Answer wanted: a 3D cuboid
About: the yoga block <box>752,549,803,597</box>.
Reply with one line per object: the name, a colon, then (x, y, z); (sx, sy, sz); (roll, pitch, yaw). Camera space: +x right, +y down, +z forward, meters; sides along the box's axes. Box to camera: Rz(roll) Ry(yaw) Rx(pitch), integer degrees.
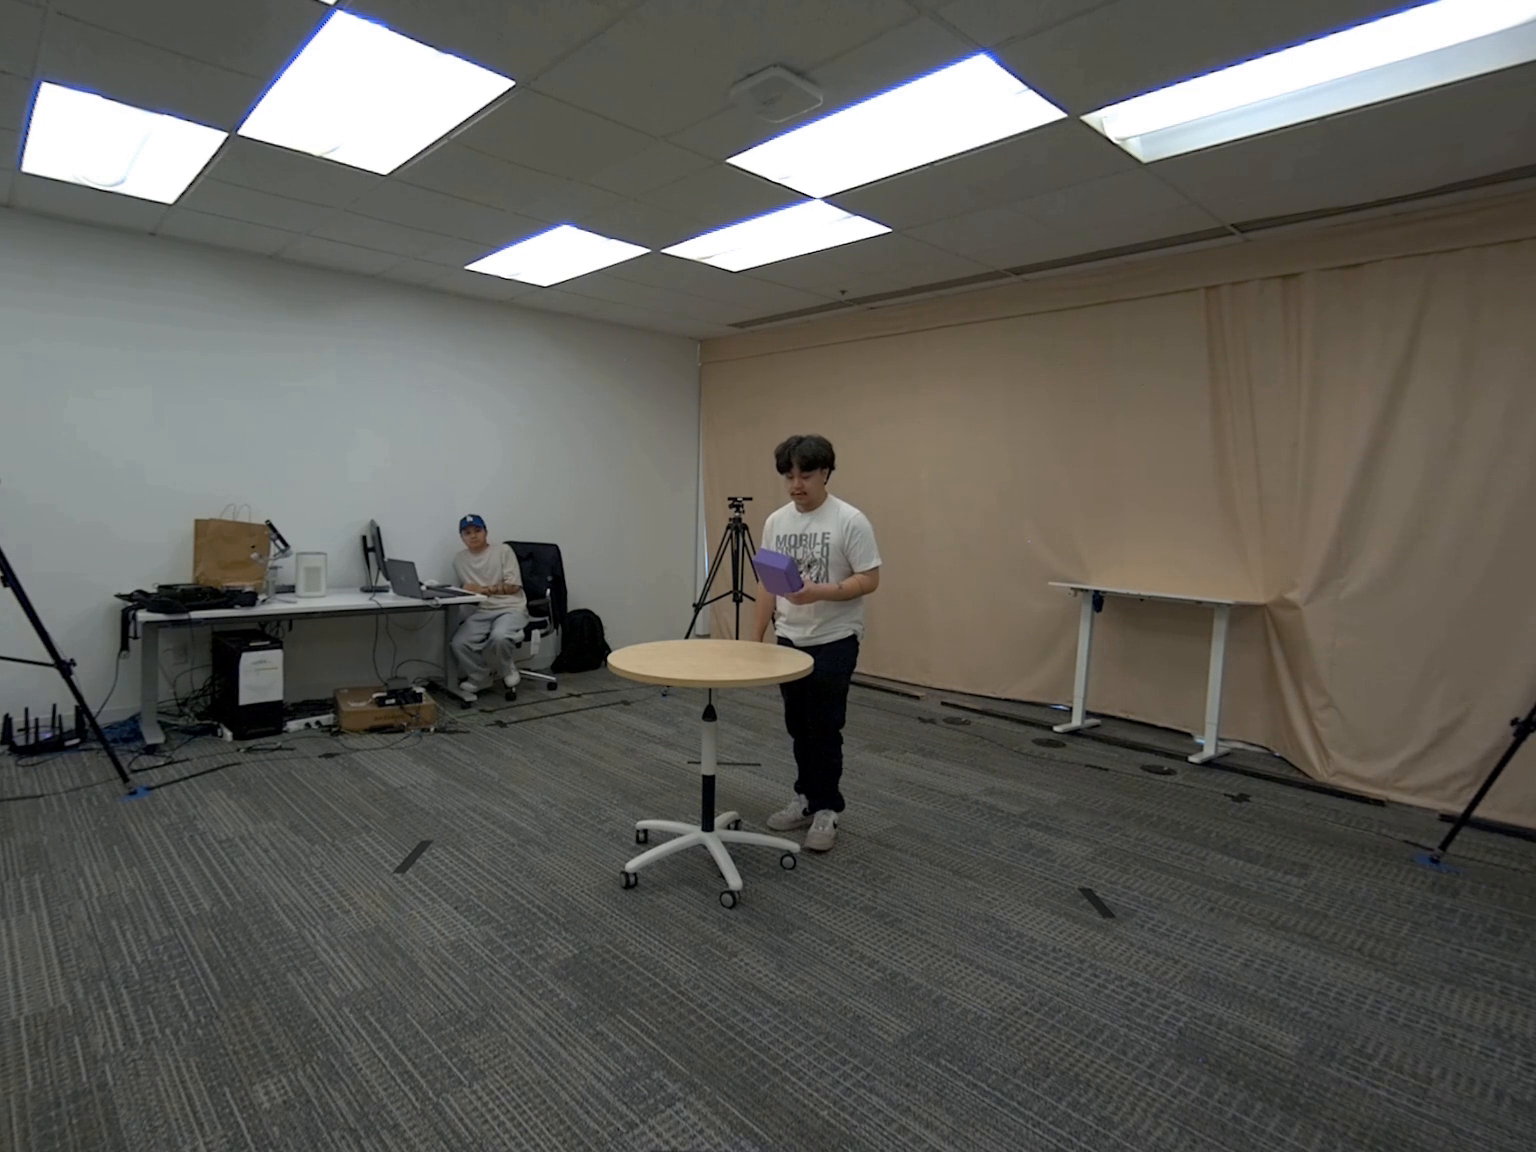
yoga block: (0.031, -0.006, 3.231); (0.153, 0.077, 0.222); (18, -23, 29)
